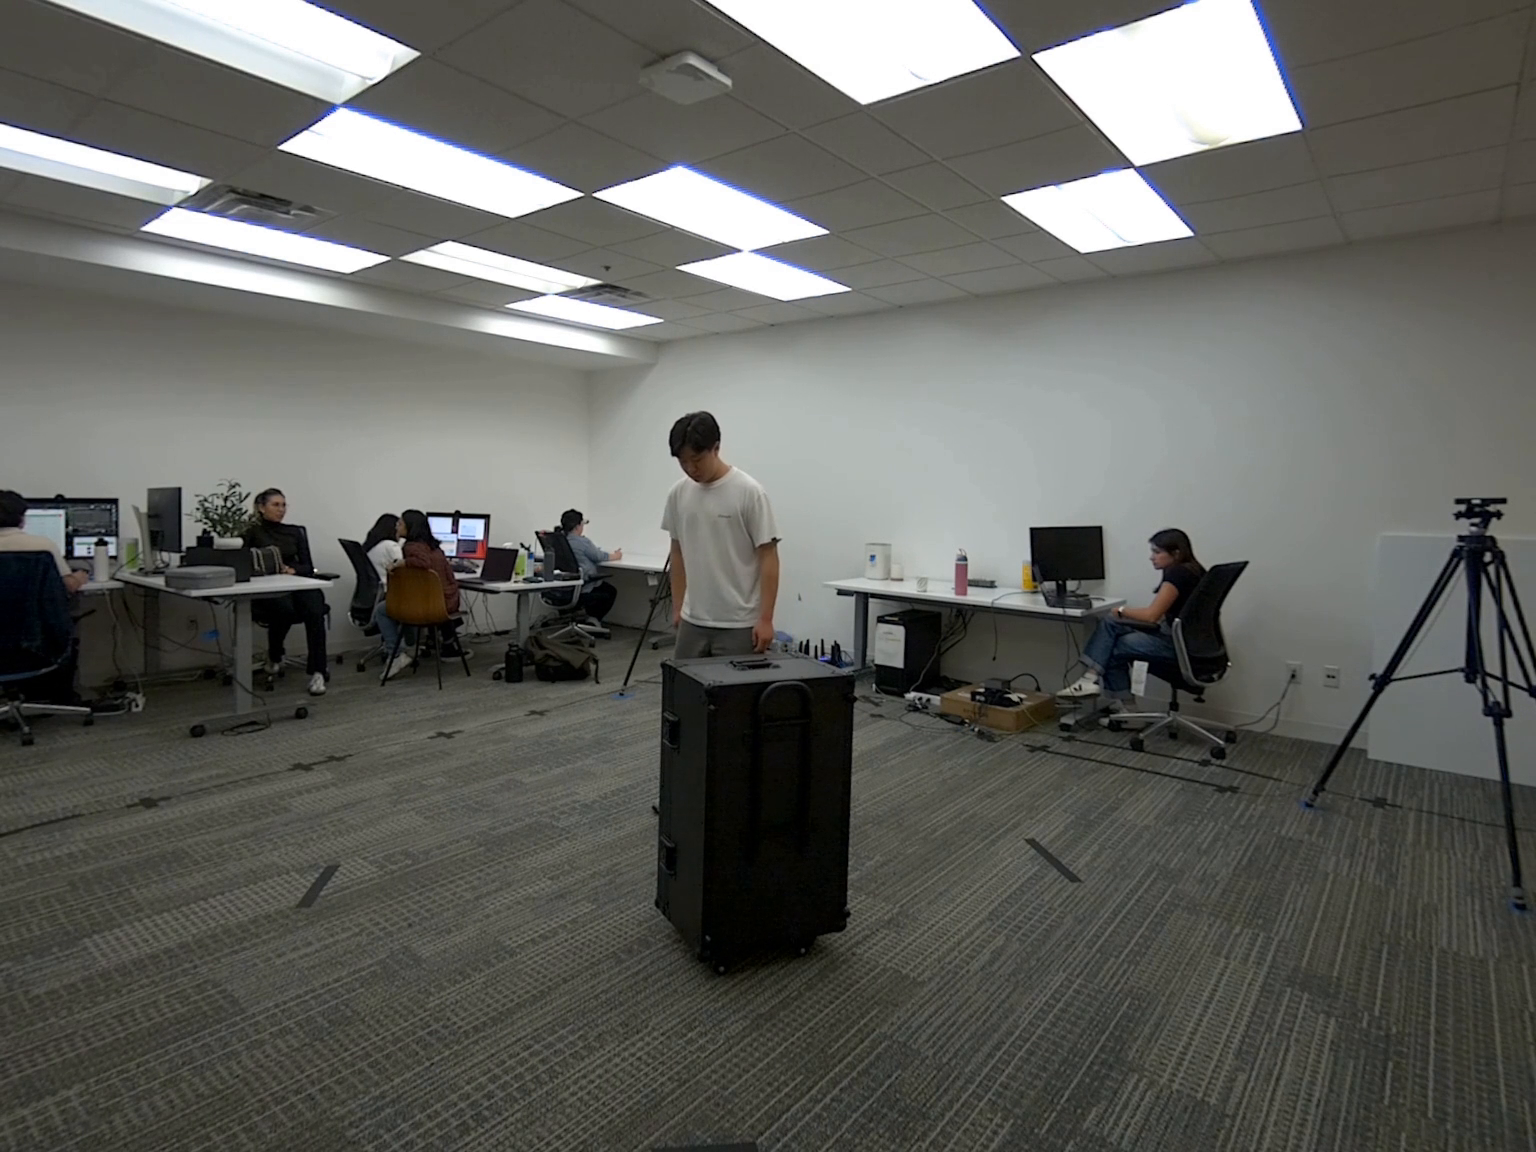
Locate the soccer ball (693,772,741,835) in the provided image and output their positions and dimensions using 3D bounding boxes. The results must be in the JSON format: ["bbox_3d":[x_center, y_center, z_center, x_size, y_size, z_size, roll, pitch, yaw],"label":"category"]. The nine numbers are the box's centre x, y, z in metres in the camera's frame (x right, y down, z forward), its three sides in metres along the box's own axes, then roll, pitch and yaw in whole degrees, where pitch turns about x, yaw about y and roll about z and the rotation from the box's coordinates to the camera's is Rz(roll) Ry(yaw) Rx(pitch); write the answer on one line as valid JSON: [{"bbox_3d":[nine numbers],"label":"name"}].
[{"bbox_3d":[-0.213,0.930,3.462,0.187,0.187,0.188,1,4,-2],"label":"soccer ball"}]
